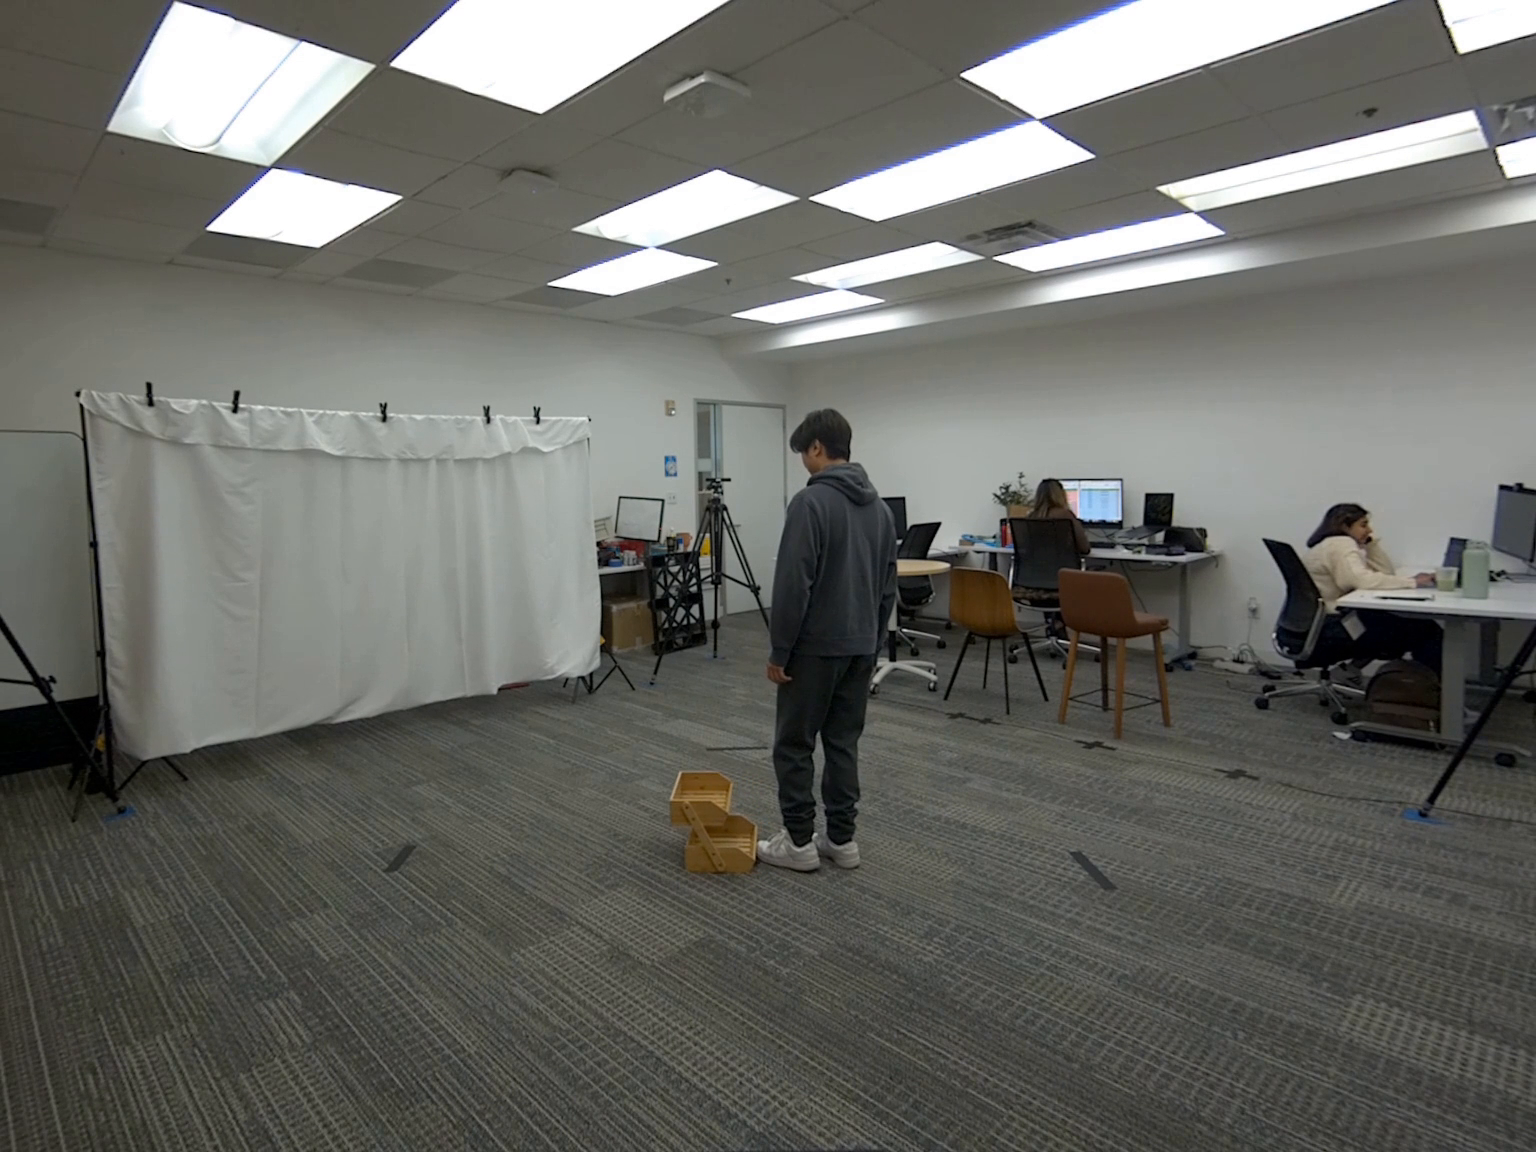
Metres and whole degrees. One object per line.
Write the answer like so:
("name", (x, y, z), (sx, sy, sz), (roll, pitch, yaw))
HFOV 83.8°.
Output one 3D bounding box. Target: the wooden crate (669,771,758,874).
("wooden crate", (-0.183, 0.905, 3.179), (0.303, 0.272, 0.325), (-1, 5, 2))
